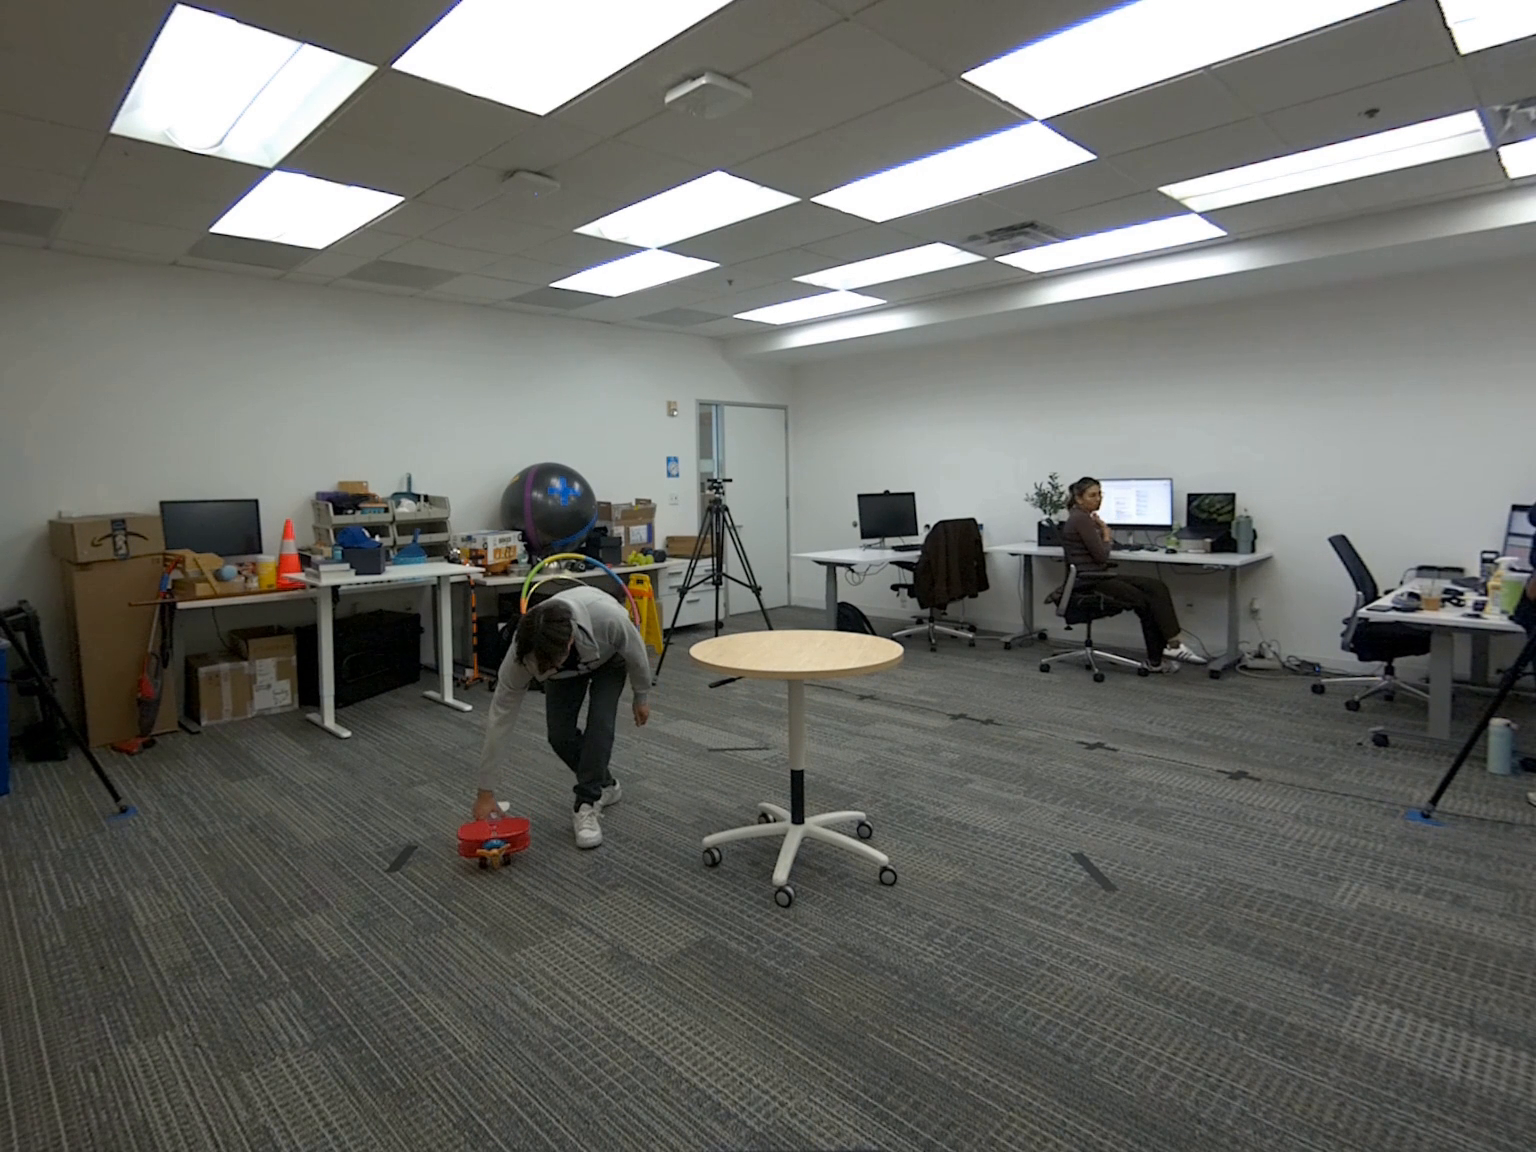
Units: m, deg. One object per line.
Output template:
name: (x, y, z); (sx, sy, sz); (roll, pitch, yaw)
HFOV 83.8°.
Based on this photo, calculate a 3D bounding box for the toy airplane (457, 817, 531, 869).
toy airplane: (-1.026, 0.948, 3.157); (0.247, 0.153, 0.268); (-26, 53, -34)
